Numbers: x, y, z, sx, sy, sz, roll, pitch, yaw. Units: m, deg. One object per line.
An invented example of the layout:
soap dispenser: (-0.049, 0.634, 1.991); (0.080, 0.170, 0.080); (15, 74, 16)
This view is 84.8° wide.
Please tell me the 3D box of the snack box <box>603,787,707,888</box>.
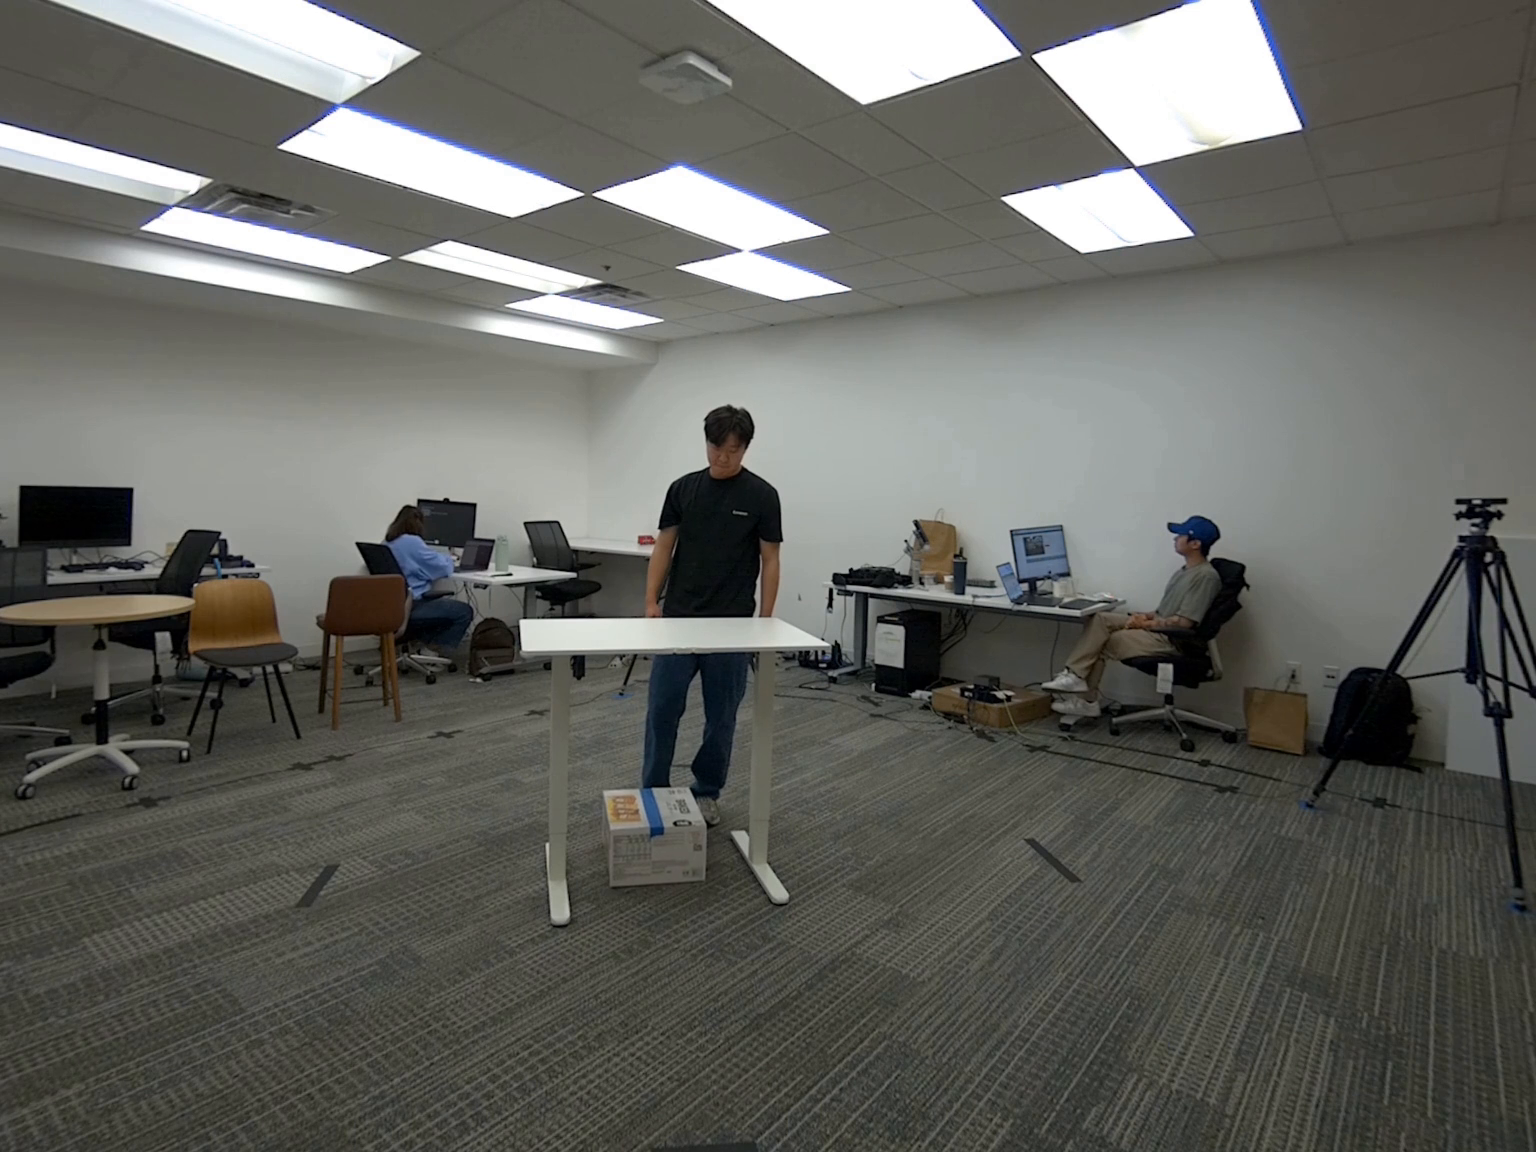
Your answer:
snack box: (-0.444, 0.957, 3.170); (0.336, 0.205, 0.412); (0, 5, -14)
